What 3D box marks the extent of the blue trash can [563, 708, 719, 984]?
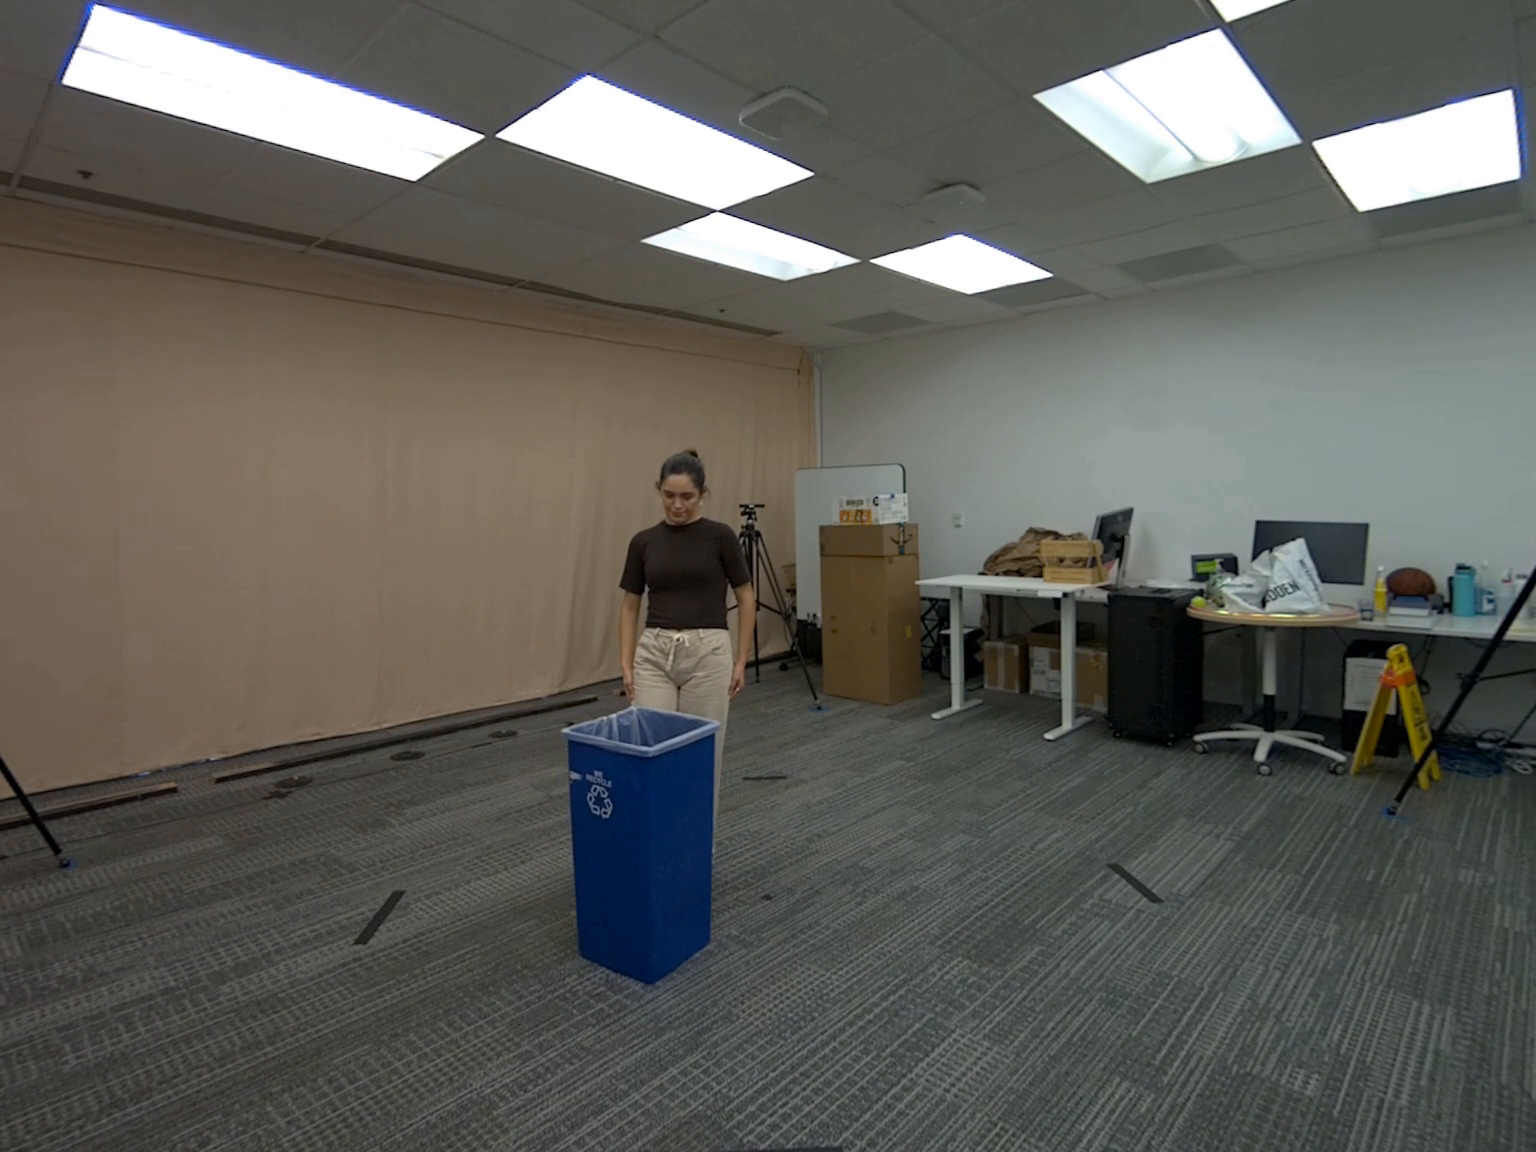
[{"bbox_3d":[-0.388,0.817,2.624,0.390,0.712,0.363,2,3,34],"label":"blue trash can"}]
